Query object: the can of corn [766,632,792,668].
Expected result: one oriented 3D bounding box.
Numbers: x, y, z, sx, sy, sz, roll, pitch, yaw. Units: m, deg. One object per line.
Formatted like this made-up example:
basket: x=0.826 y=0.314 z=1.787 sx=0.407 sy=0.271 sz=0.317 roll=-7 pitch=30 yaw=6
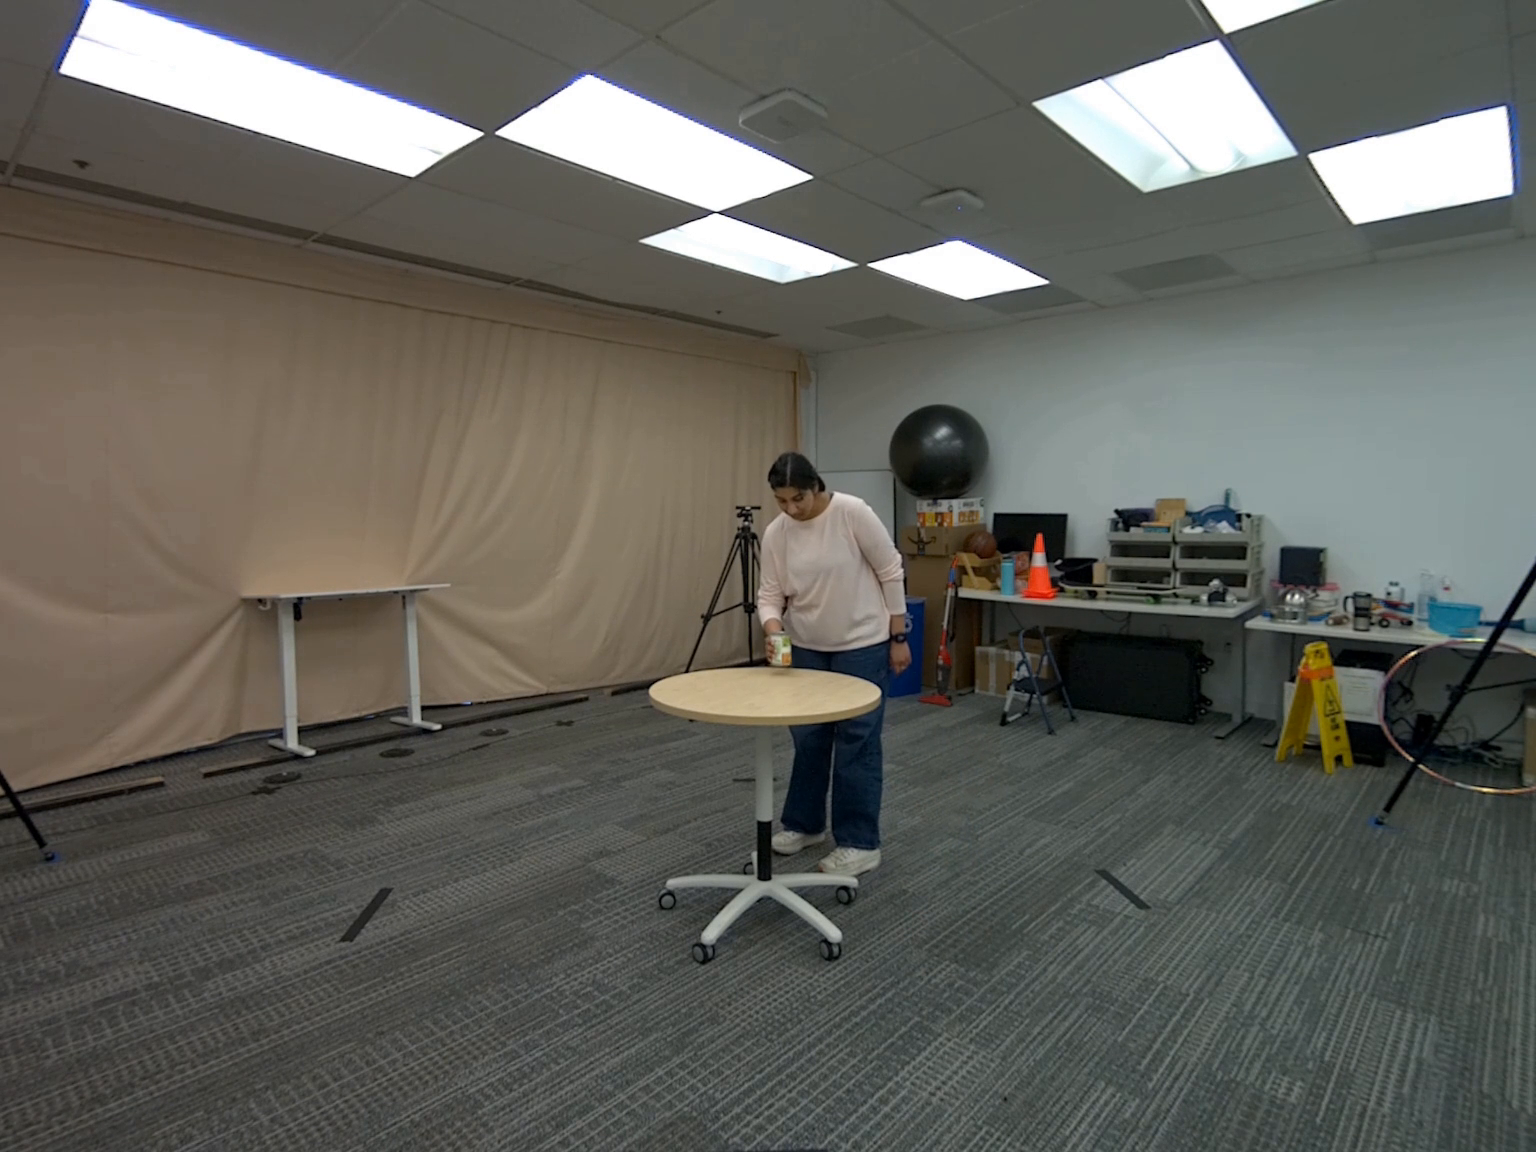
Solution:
can of corn: x=0.047 y=0.260 z=3.037 sx=0.074 sy=0.111 sz=0.074 roll=-1 pitch=3 yaw=-2
